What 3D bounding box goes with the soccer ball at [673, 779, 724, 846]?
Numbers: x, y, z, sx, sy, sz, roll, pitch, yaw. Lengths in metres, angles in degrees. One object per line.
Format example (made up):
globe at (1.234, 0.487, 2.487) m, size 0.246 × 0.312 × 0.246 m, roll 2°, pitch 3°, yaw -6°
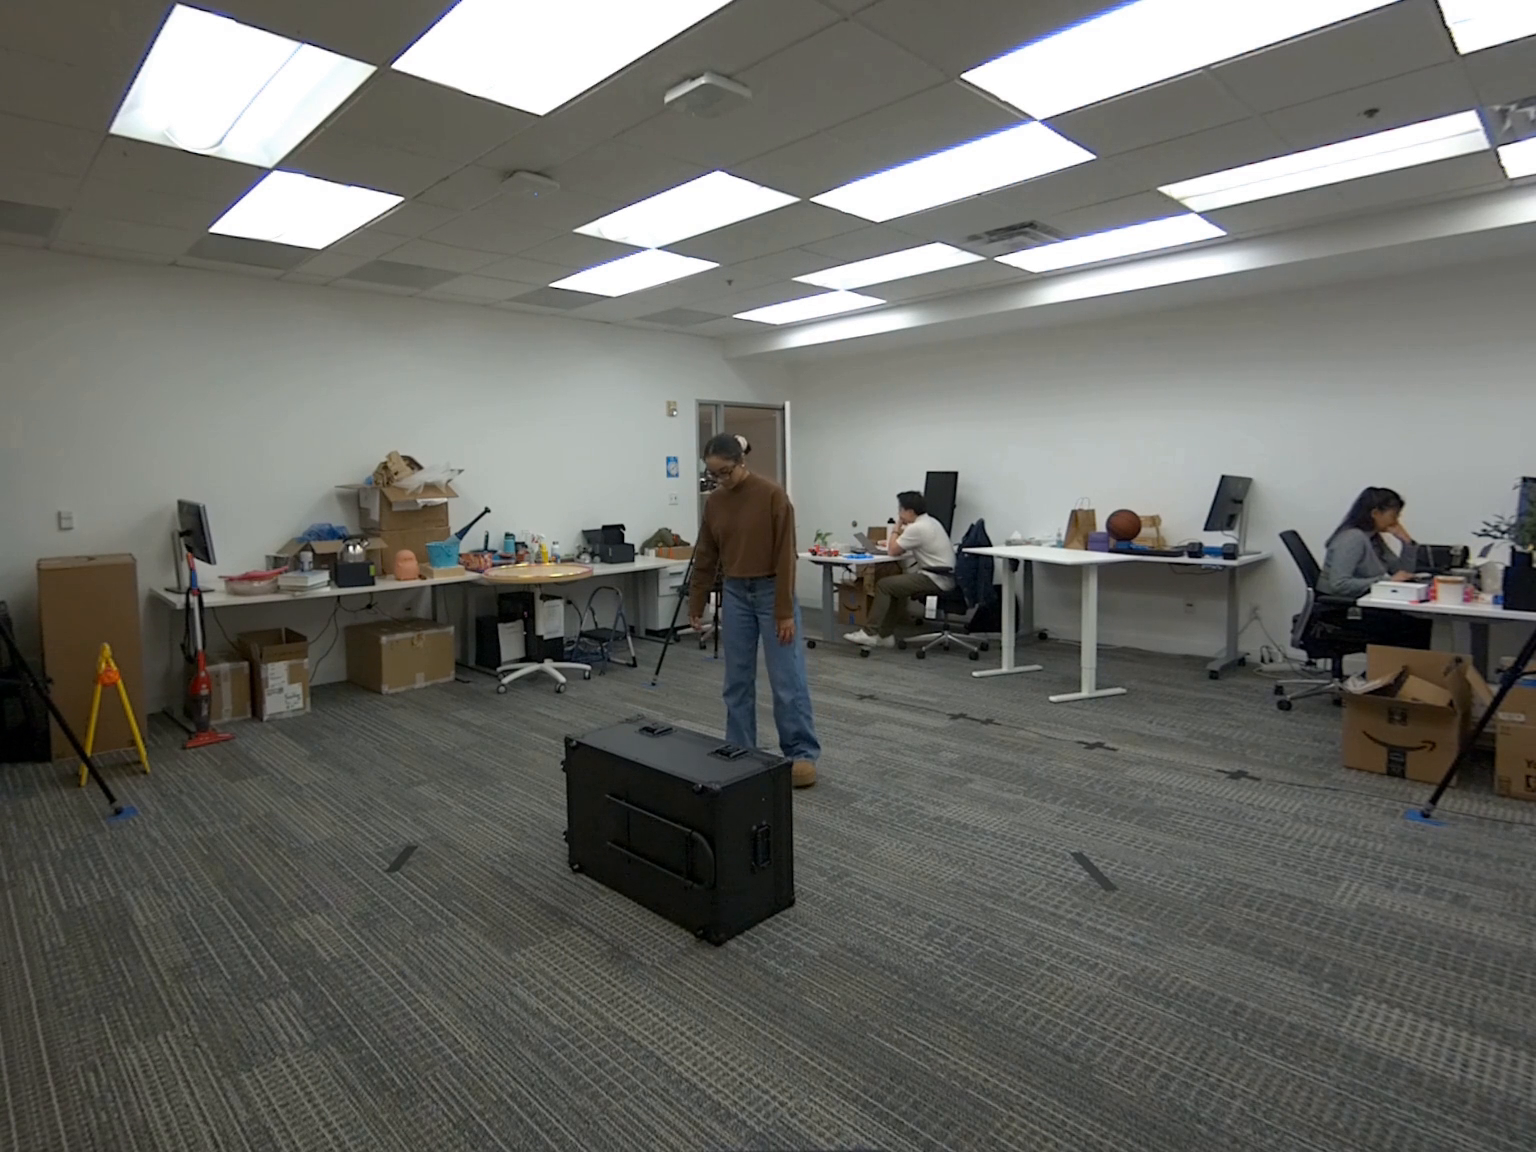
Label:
soccer ball at (-0.273, 0.921, 3.358) m, size 0.187 × 0.187 × 0.188 m, roll -1°, pitch 5°, yaw -2°
